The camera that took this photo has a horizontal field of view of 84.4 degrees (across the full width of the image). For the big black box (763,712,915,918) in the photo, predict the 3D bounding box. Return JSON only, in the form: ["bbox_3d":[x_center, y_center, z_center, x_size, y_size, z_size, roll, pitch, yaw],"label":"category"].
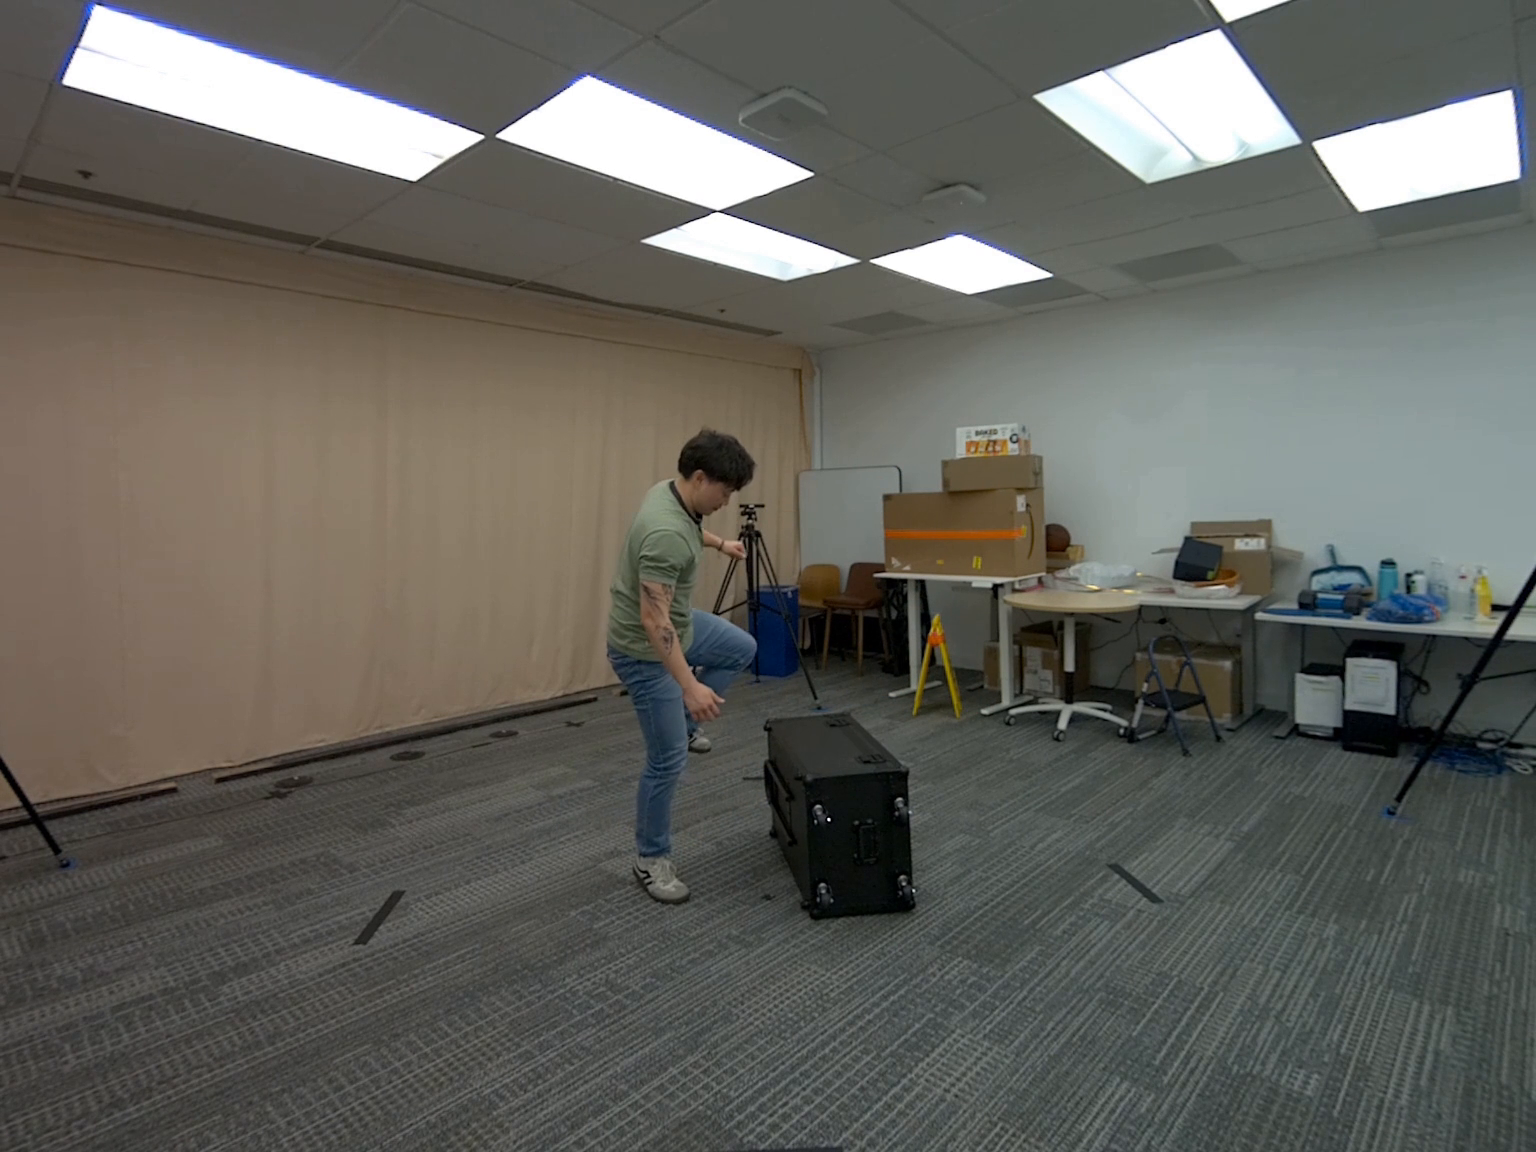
[{"bbox_3d":[0.238,0.863,3.169,0.393,0.520,0.871,-4,5,-10],"label":"big black box"}]
